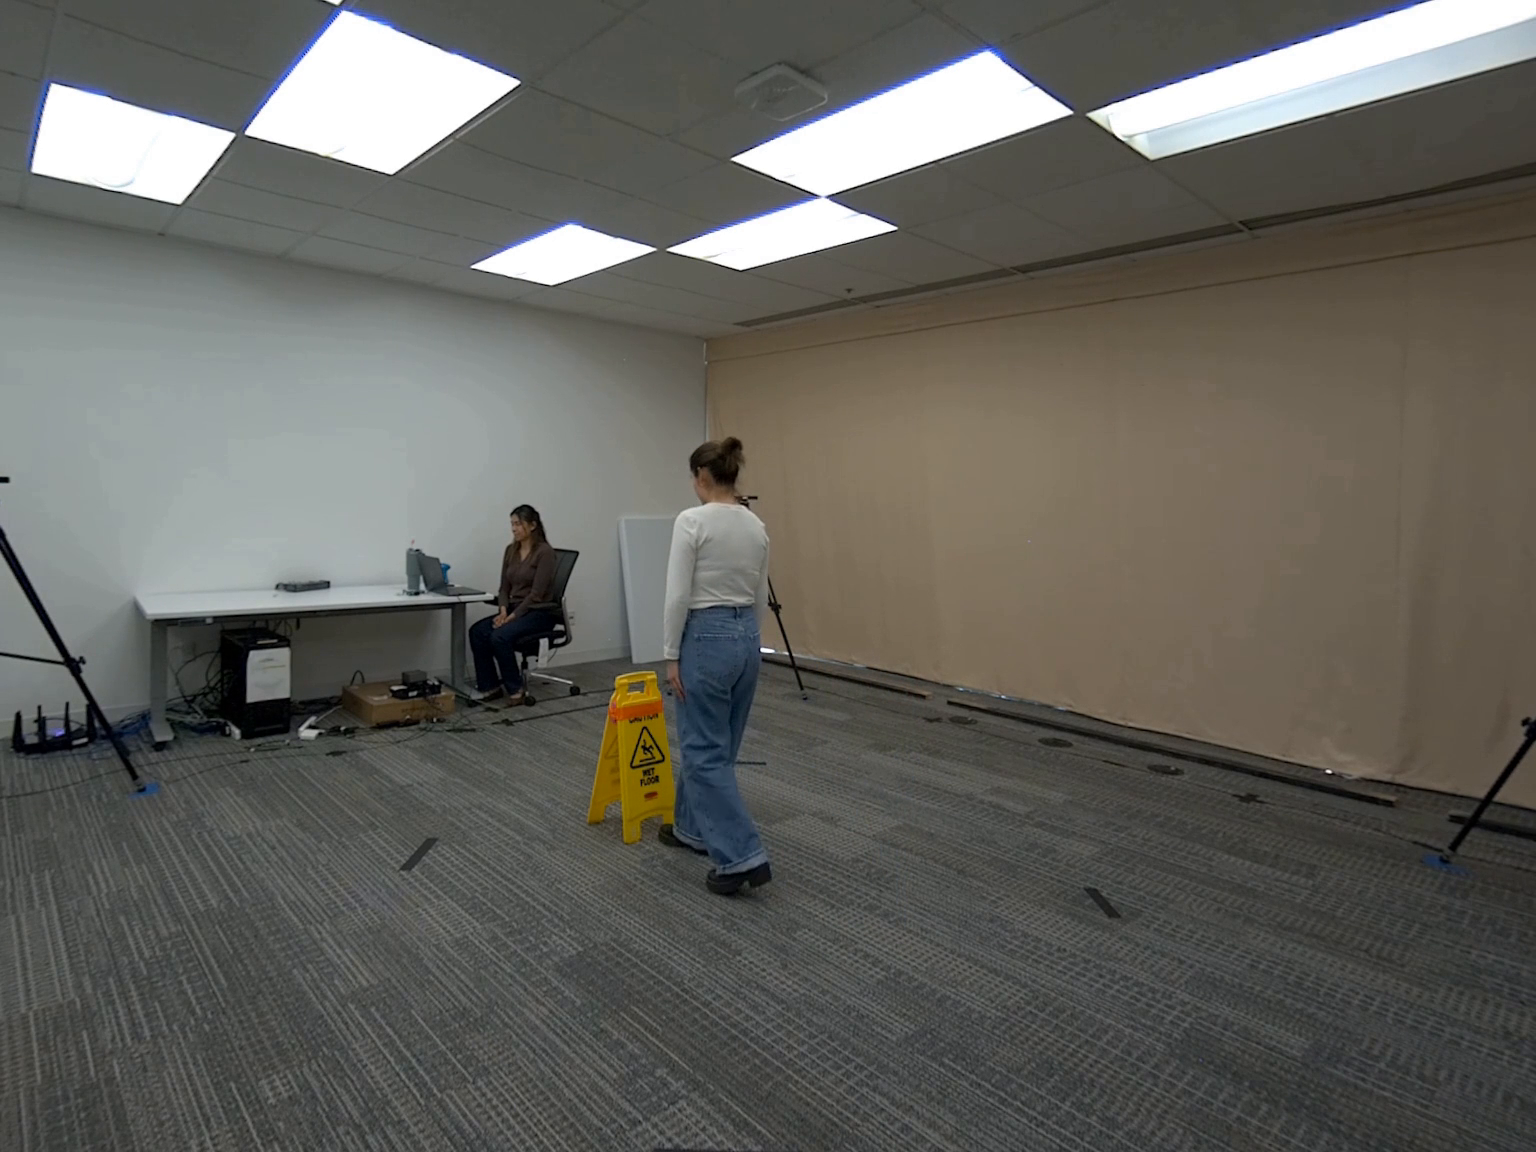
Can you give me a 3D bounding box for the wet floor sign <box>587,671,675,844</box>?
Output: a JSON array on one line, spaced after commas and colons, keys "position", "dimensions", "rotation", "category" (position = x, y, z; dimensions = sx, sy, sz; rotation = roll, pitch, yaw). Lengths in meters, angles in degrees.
[{"position": [-0.569, 0.731, 3.535], "dimensions": [0.275, 0.645, 0.297], "rotation": [-1, 3, -44], "category": "wet floor sign"}]
